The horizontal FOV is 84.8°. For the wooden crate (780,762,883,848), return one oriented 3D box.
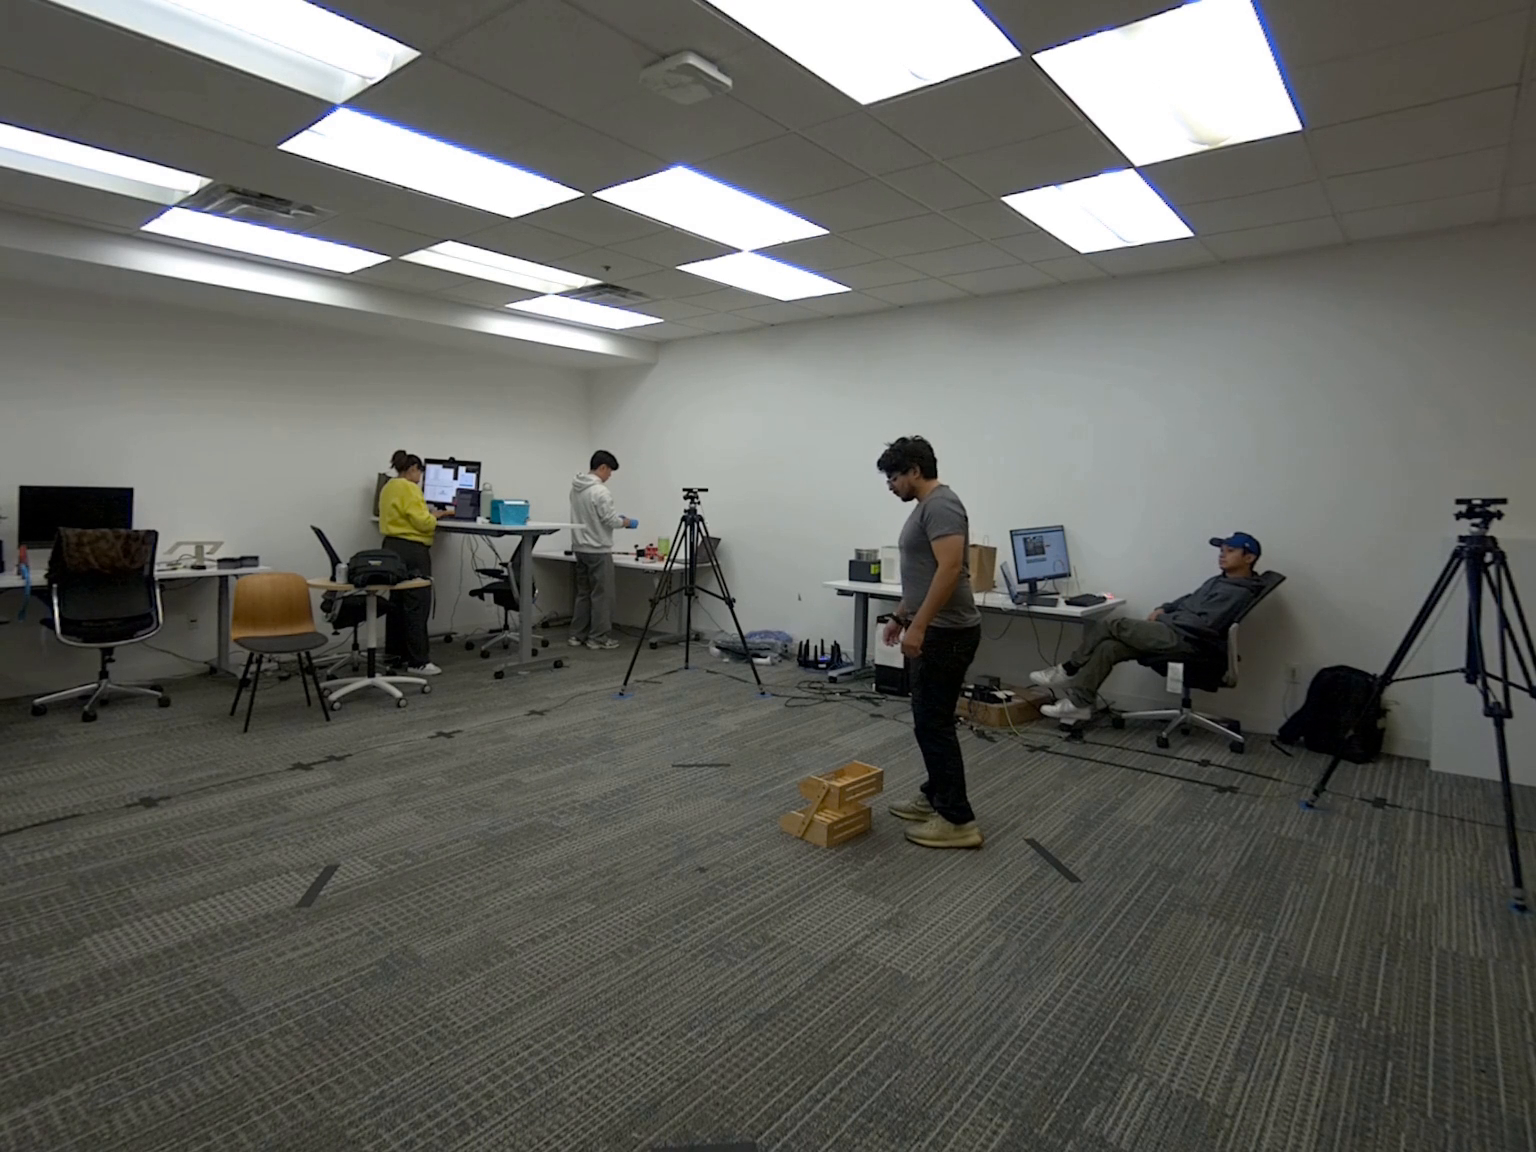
[{"bbox_3d":[0.252,0.910,3.493,0.312,0.272,0.315,6,6,43],"label":"wooden crate"}]
